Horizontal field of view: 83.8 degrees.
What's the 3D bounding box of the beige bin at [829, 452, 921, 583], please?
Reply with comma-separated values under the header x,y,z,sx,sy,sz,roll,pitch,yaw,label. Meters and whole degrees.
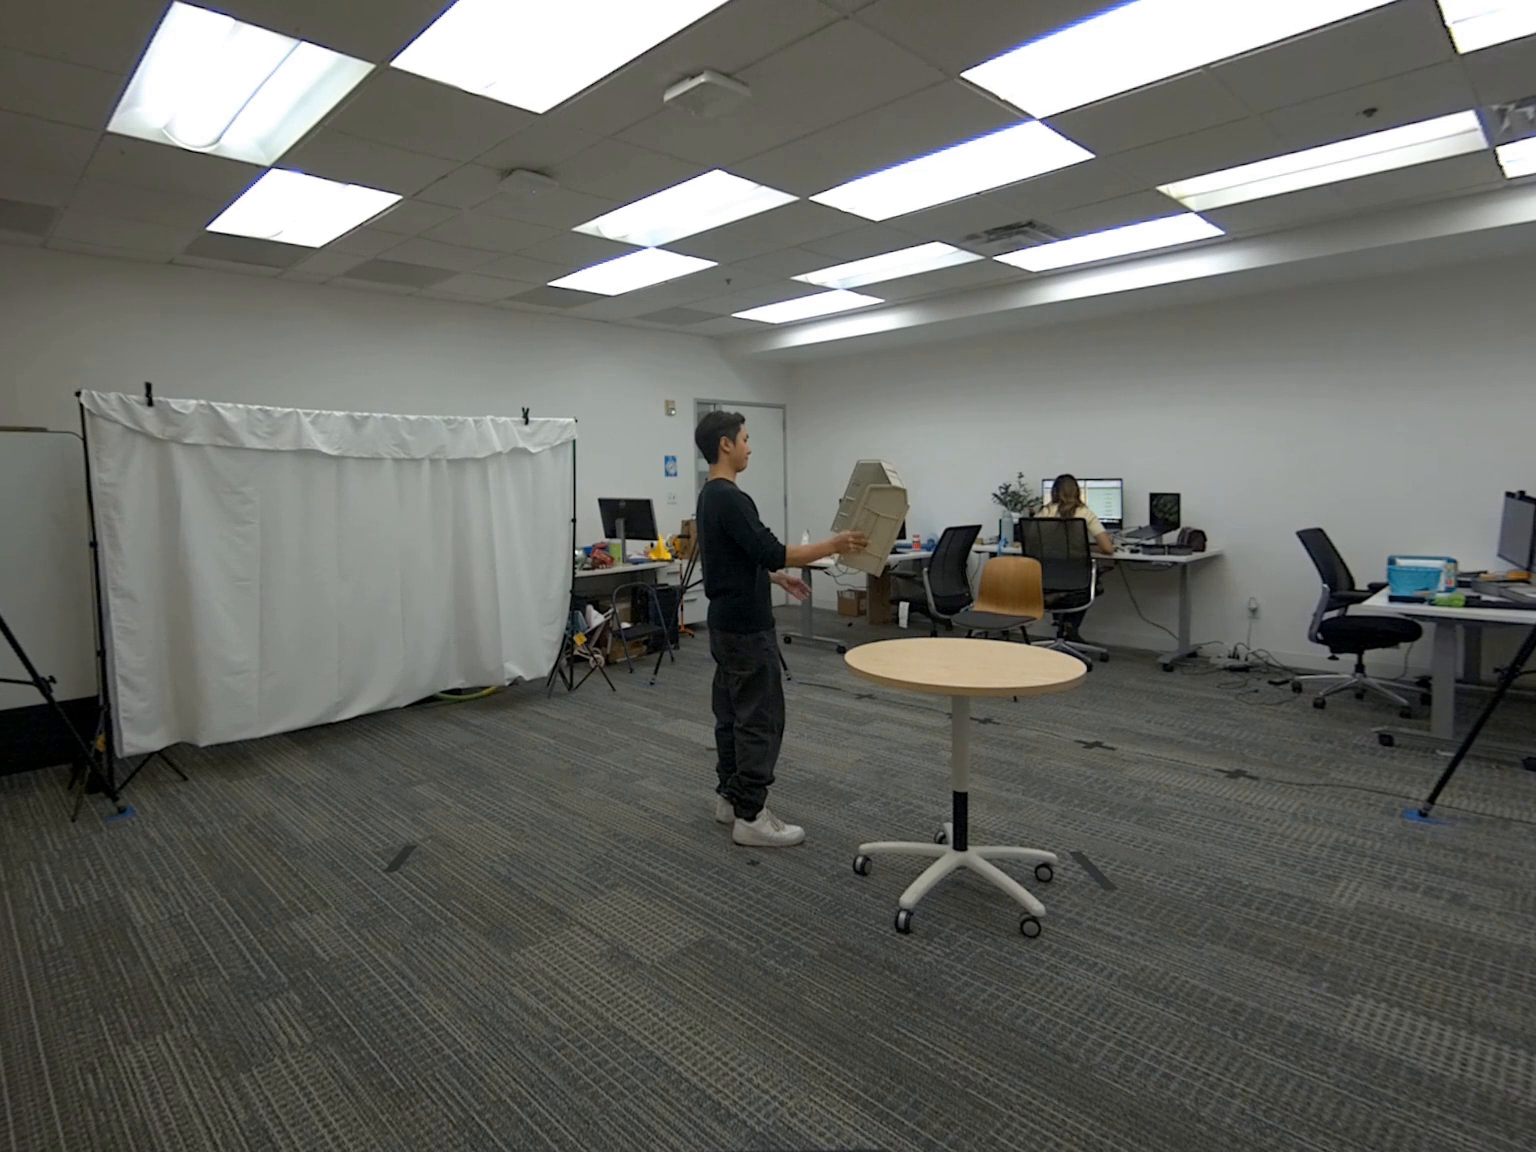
x,y,z,sx,sy,sz,roll,pitch,yaw,label
0.413,-0.248,3.436,0.188,0.373,0.429,17,19,-6,beige bin
